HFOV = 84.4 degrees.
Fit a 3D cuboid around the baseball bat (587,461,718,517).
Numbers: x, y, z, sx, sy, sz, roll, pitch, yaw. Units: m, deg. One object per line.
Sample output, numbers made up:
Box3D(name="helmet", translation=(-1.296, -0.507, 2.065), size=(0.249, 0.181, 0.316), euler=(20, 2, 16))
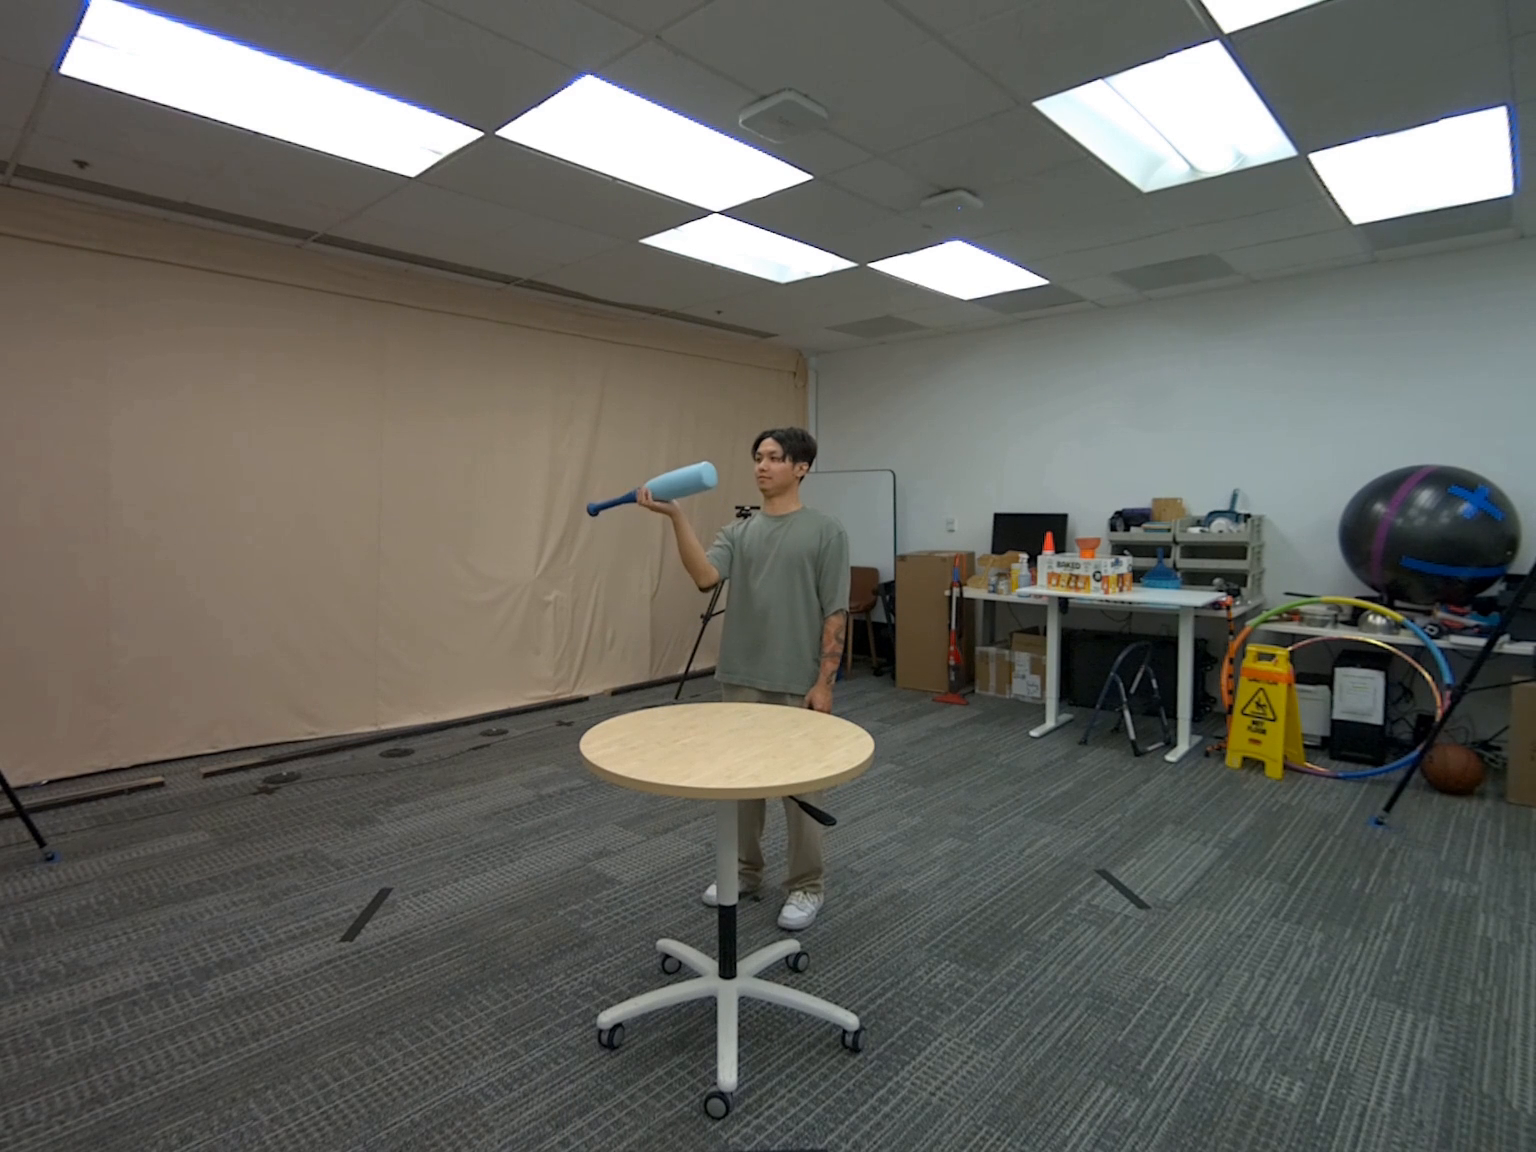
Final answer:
Box3D(name="baseball bat", translation=(-0.385, -0.266, 2.717), size=(0.557, 0.089, 0.086), euler=(-12, -4, 38))
